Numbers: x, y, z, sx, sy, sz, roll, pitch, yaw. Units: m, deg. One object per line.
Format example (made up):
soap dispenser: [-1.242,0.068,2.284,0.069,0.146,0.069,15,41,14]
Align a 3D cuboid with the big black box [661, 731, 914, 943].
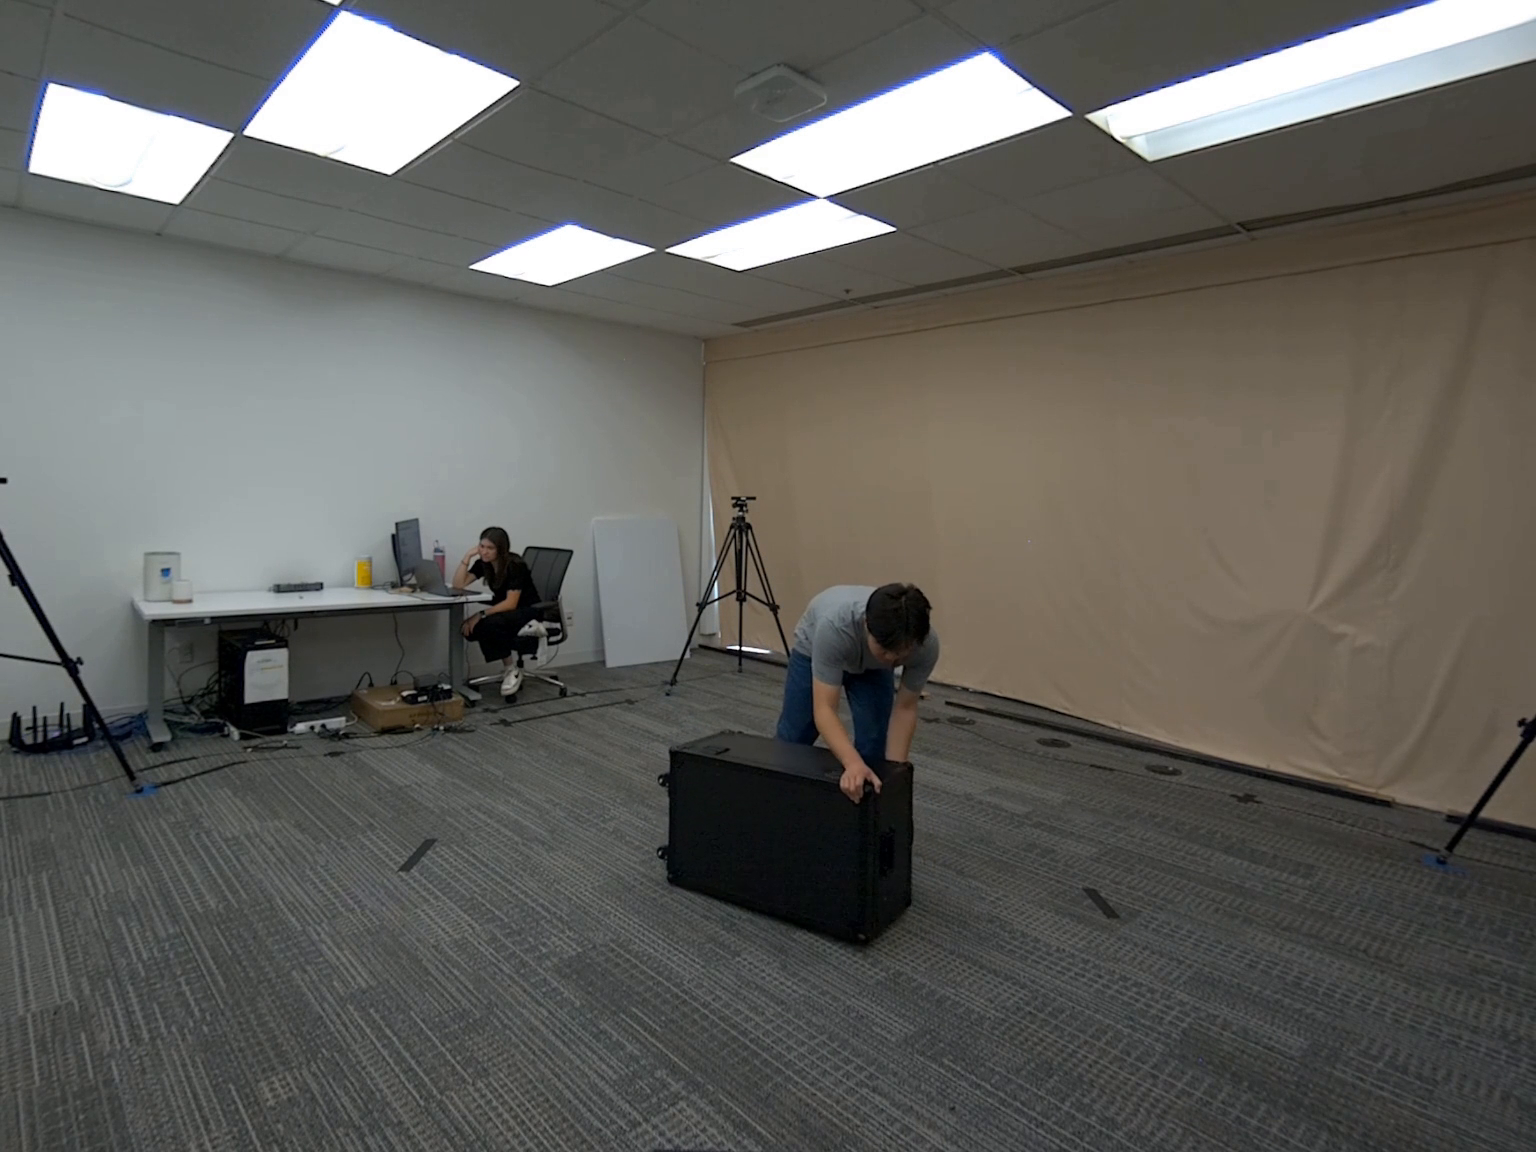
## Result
big black box: [0.042,0.860,2.961,0.881,0.520,0.388,3,3,33]
